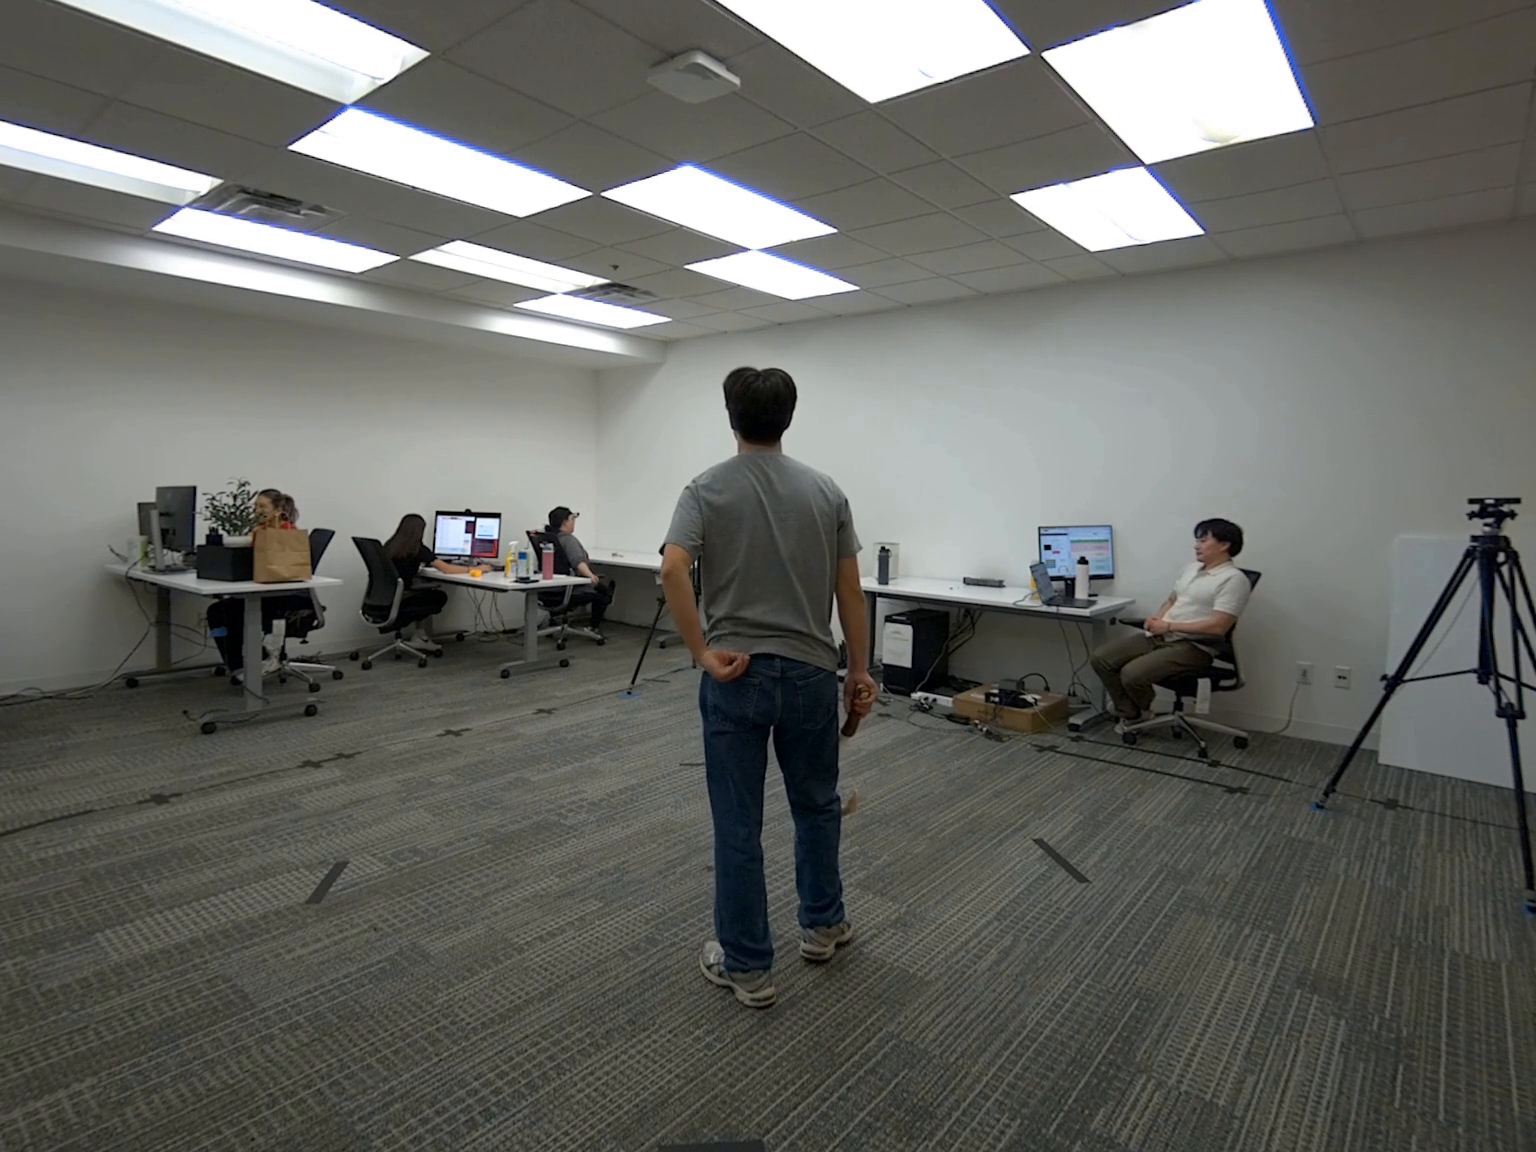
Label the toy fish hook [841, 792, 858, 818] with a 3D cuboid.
[{"bbox_3d":[0.239,0.538,2.566,0.047,0.496,0.234,-10,45,-25],"label":"toy fish hook"}]
